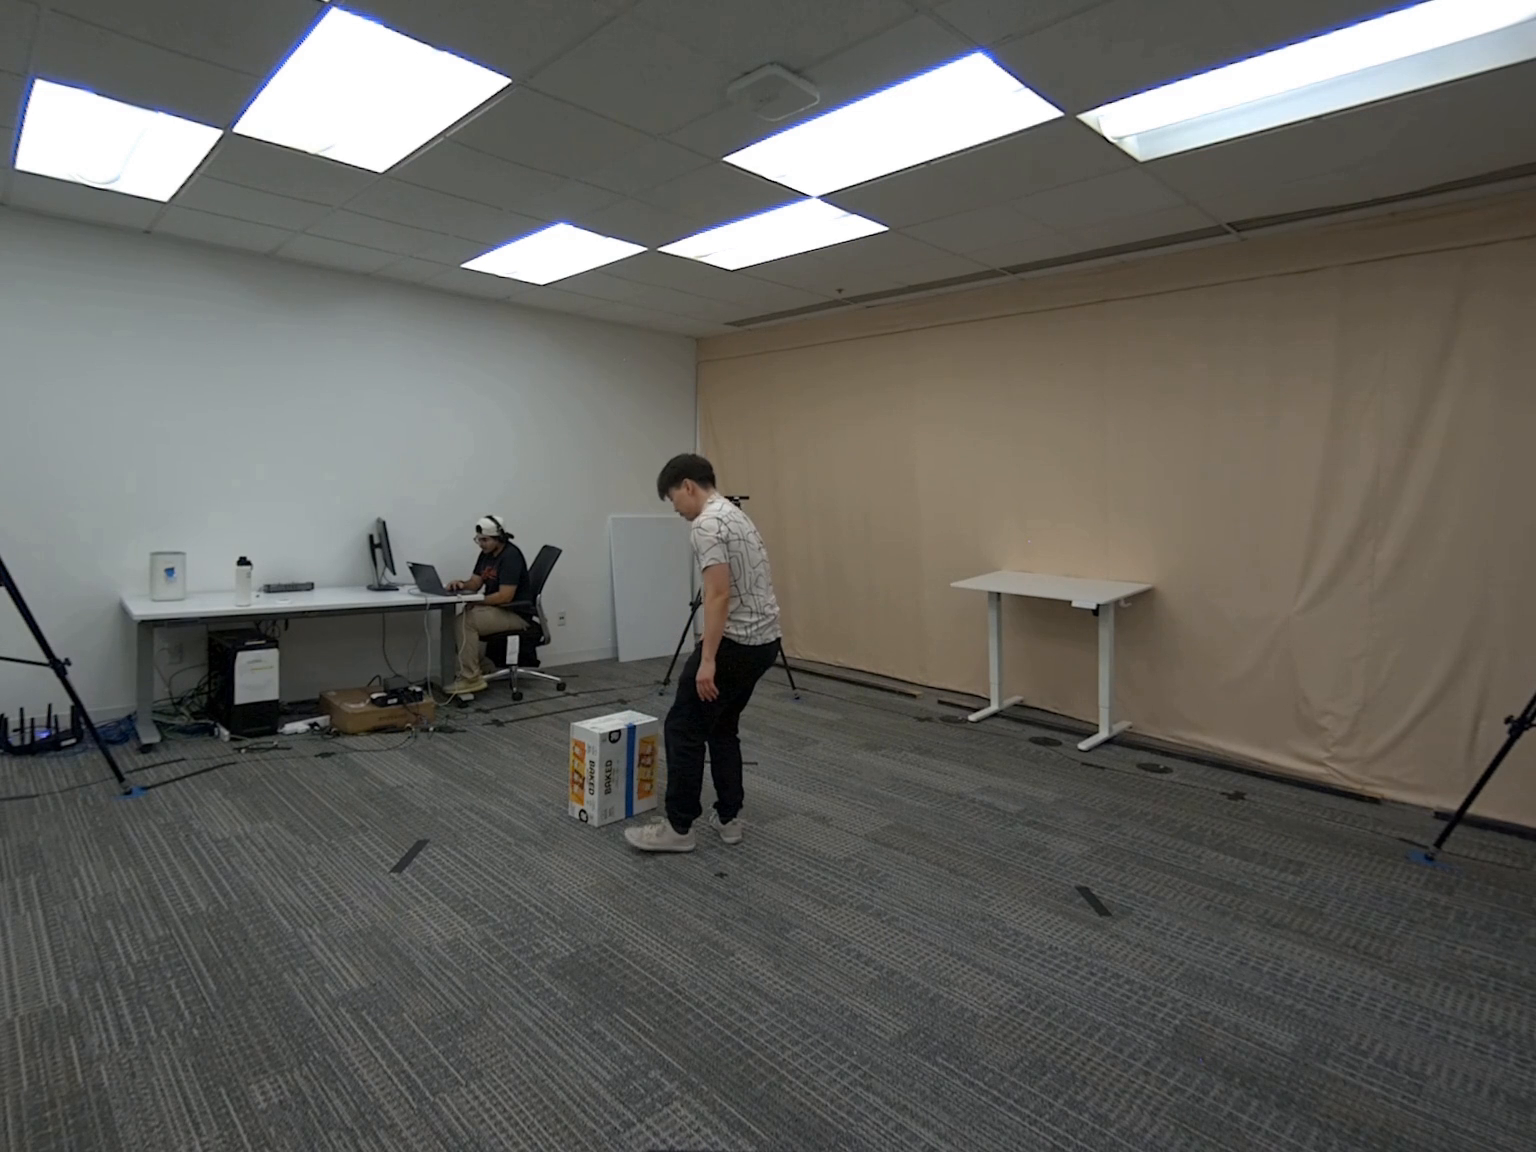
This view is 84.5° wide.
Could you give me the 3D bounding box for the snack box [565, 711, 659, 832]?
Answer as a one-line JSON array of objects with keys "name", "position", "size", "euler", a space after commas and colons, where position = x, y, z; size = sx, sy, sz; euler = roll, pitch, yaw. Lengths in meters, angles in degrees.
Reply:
[{"name": "snack box", "position": [-0.681, 0.841, 3.695], "size": [0.211, 0.404, 0.333], "euler": [5, 5, 40]}]
